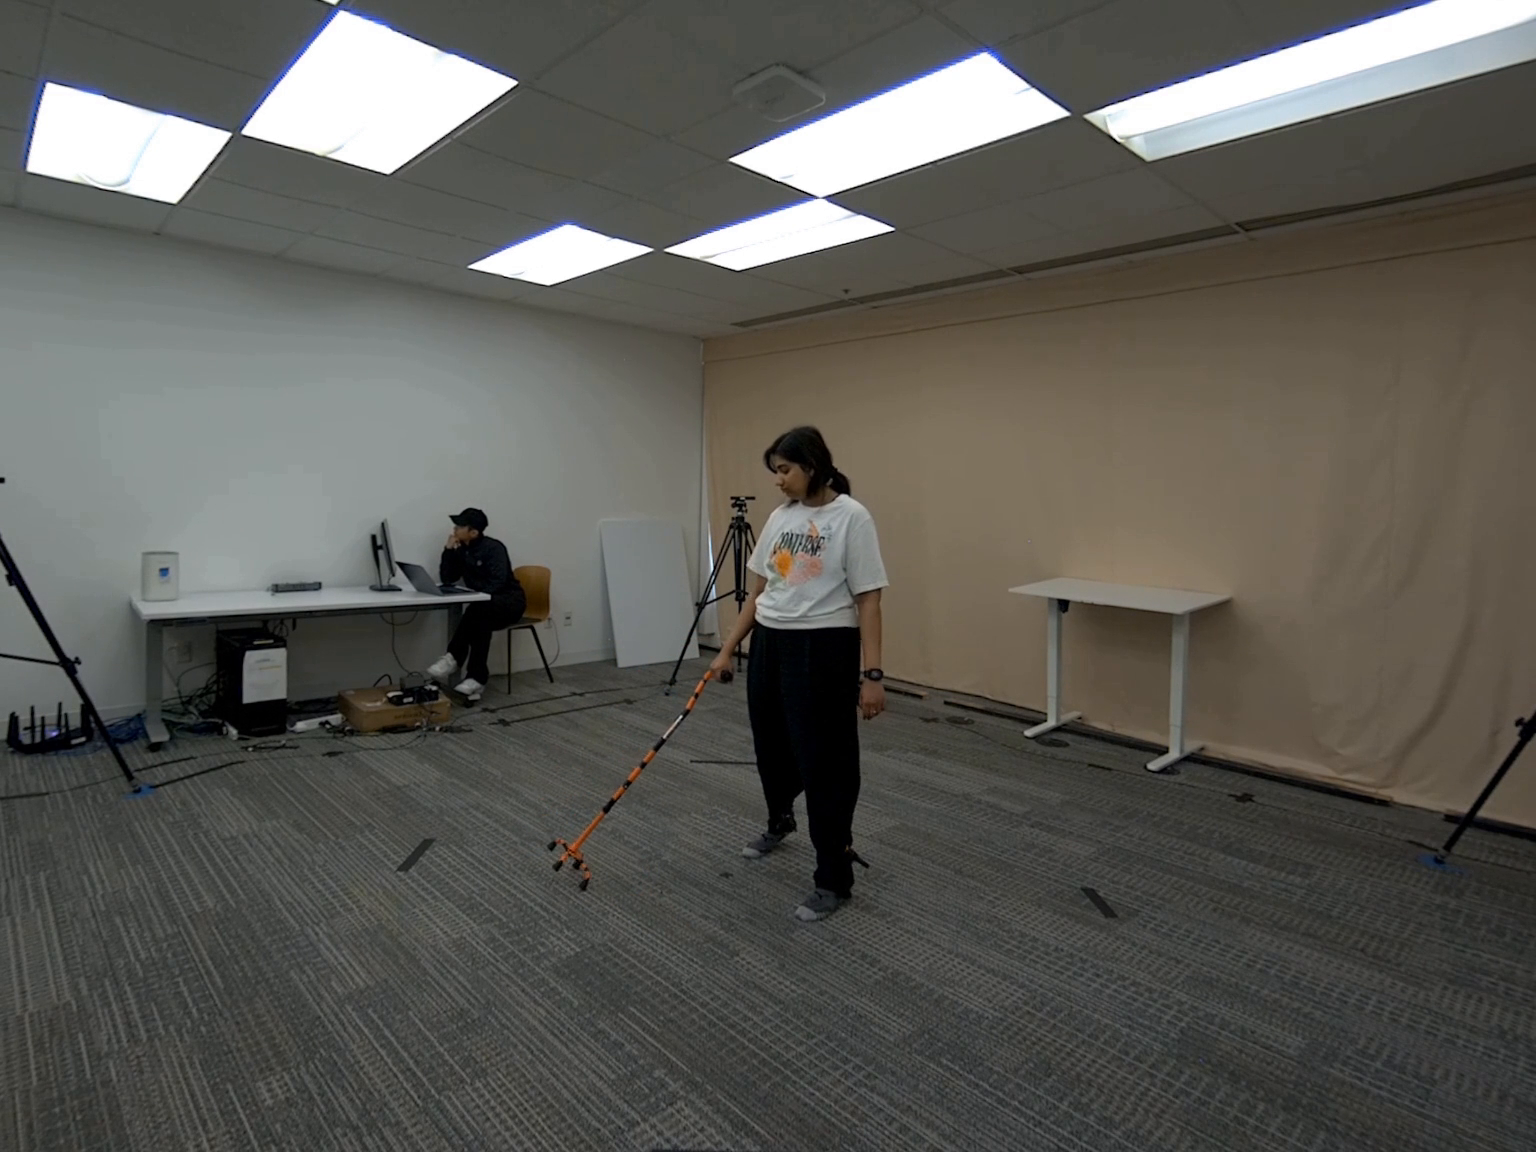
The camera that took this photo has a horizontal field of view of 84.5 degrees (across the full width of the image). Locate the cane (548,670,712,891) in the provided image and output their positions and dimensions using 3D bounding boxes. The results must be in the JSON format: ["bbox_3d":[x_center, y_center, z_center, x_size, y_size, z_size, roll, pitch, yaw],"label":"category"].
[{"bbox_3d":[-0.451,0.699,3.096,0.149,0.908,0.210,43,-9,-19],"label":"cane"}]
